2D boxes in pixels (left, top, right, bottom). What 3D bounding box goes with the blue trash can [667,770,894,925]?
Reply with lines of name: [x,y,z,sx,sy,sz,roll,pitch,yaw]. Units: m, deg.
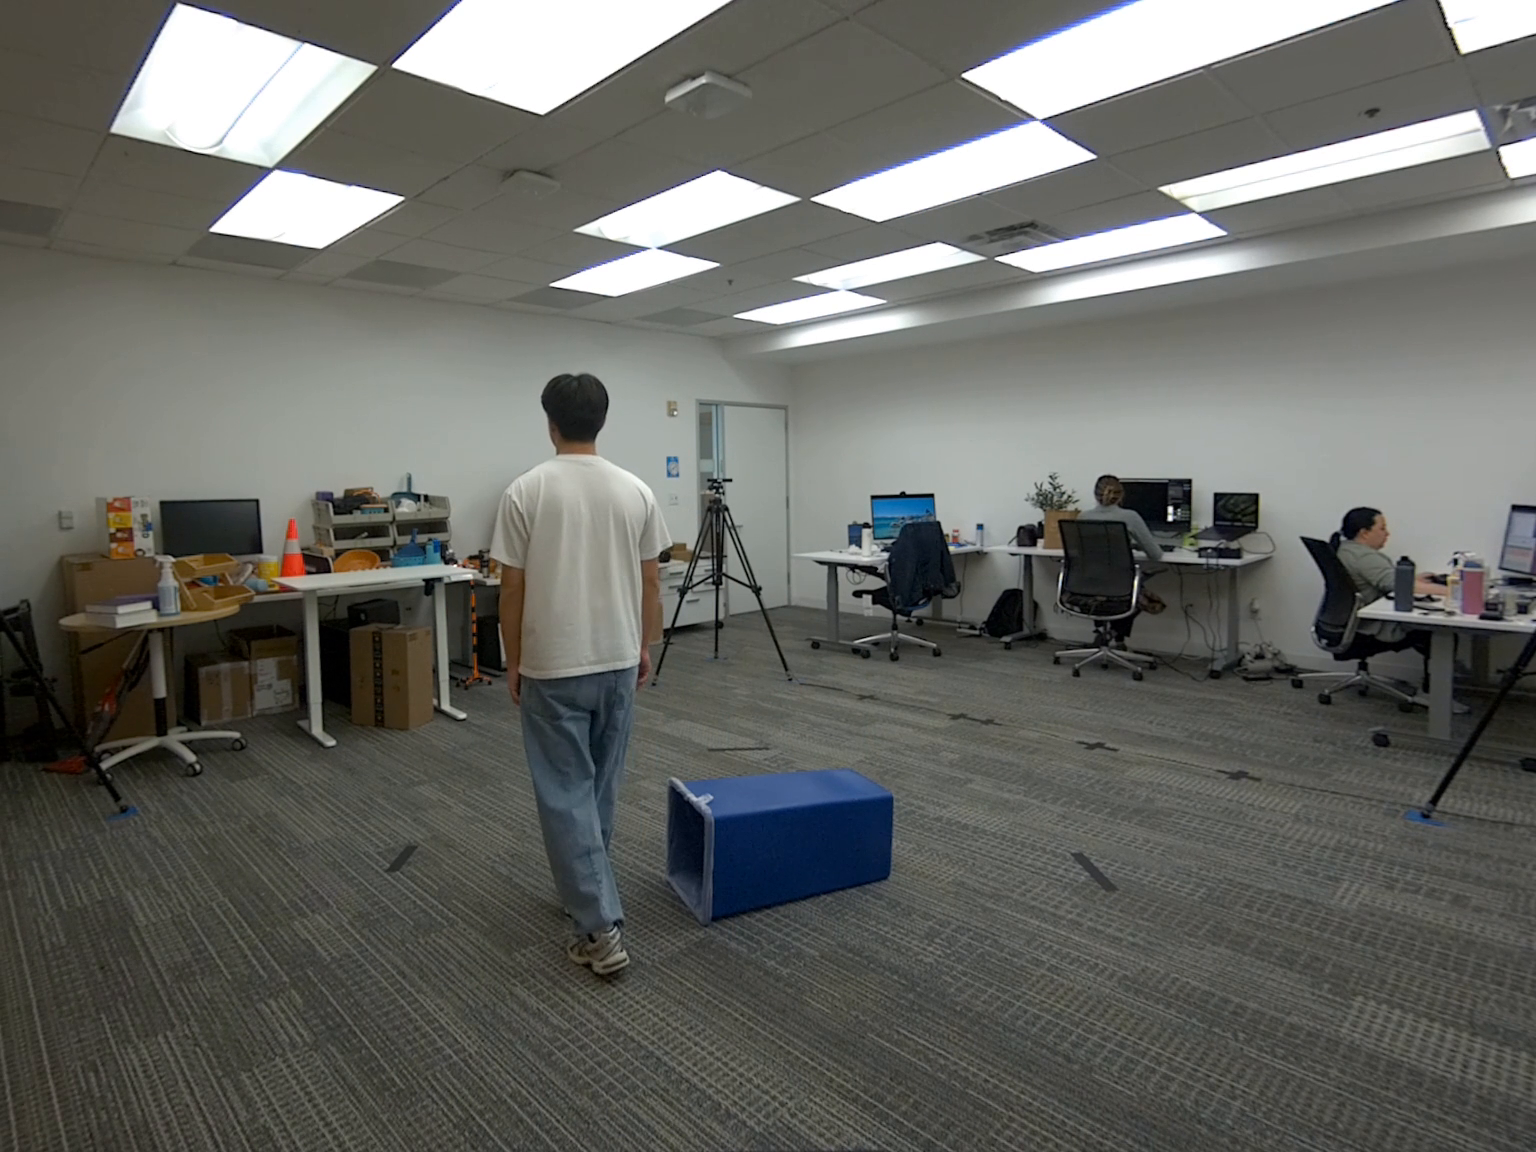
blue trash can: [0.042,0.893,2.962,0.698,0.377,0.383,-1,4,-25]
